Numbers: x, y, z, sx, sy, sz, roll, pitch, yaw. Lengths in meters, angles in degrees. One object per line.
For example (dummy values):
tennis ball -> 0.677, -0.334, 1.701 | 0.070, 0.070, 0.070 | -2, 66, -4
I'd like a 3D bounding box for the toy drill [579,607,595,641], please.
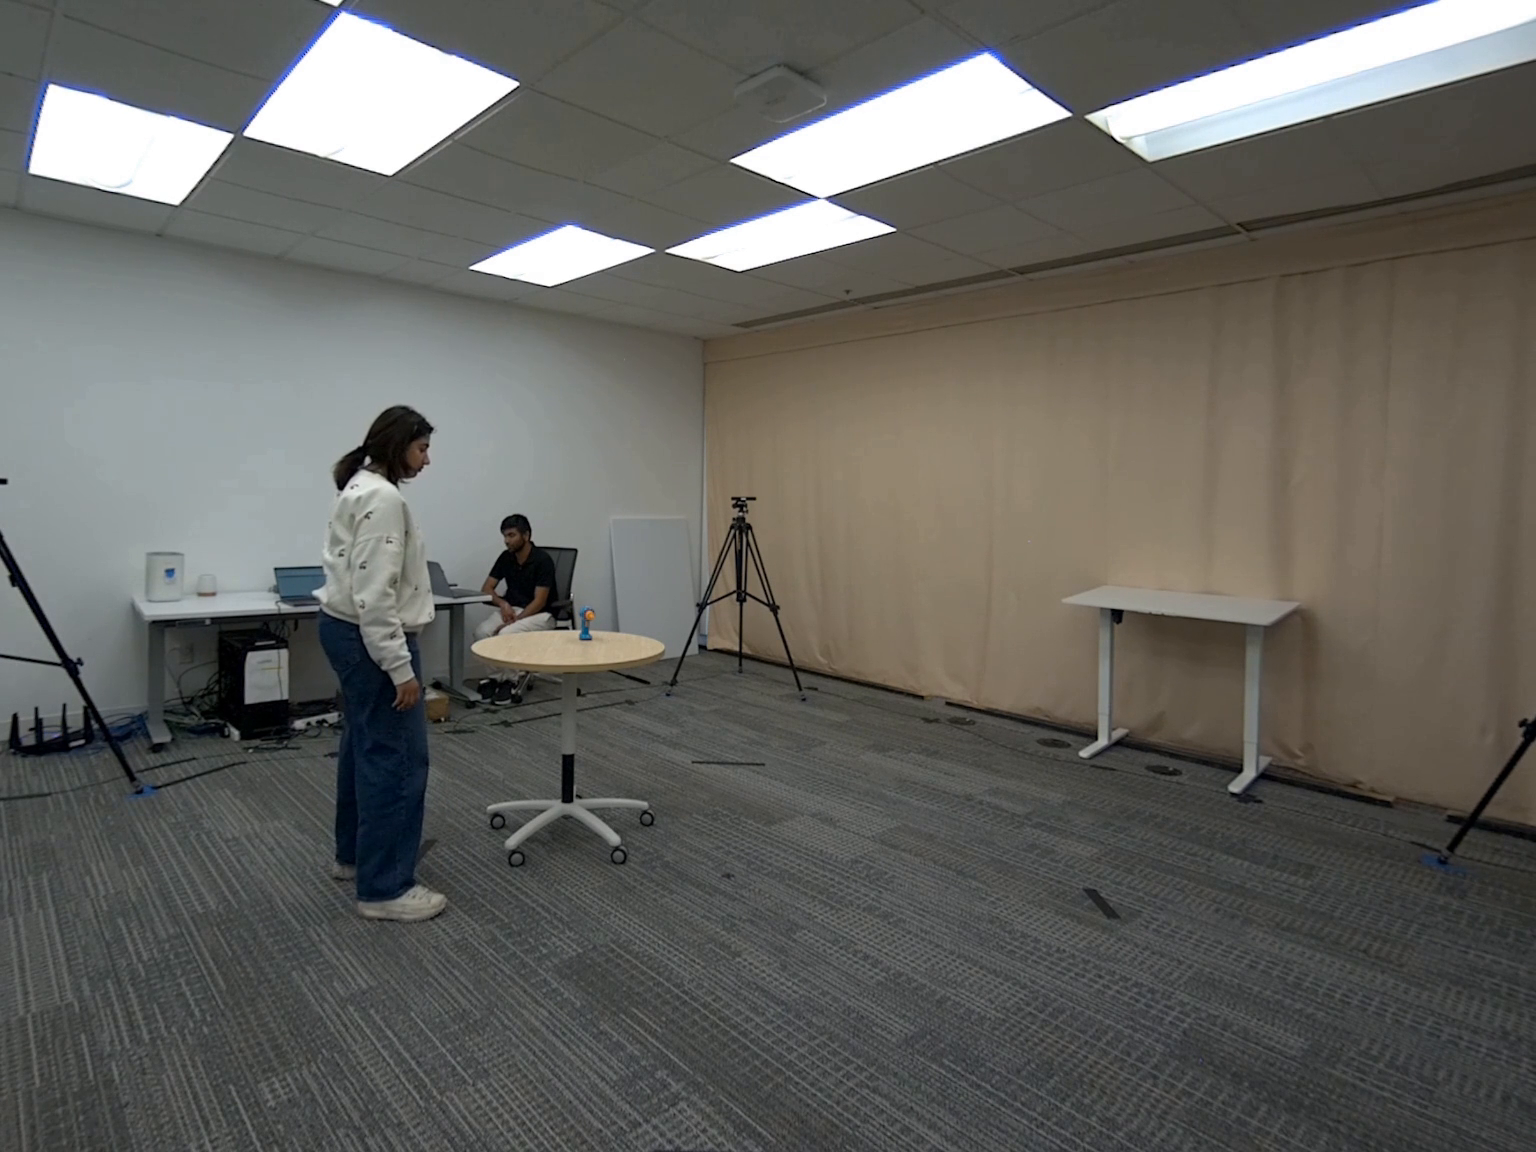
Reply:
toy drill -> -0.764, 0.199, 3.522 | 0.060, 0.146, 0.173 | 3, 4, -24
